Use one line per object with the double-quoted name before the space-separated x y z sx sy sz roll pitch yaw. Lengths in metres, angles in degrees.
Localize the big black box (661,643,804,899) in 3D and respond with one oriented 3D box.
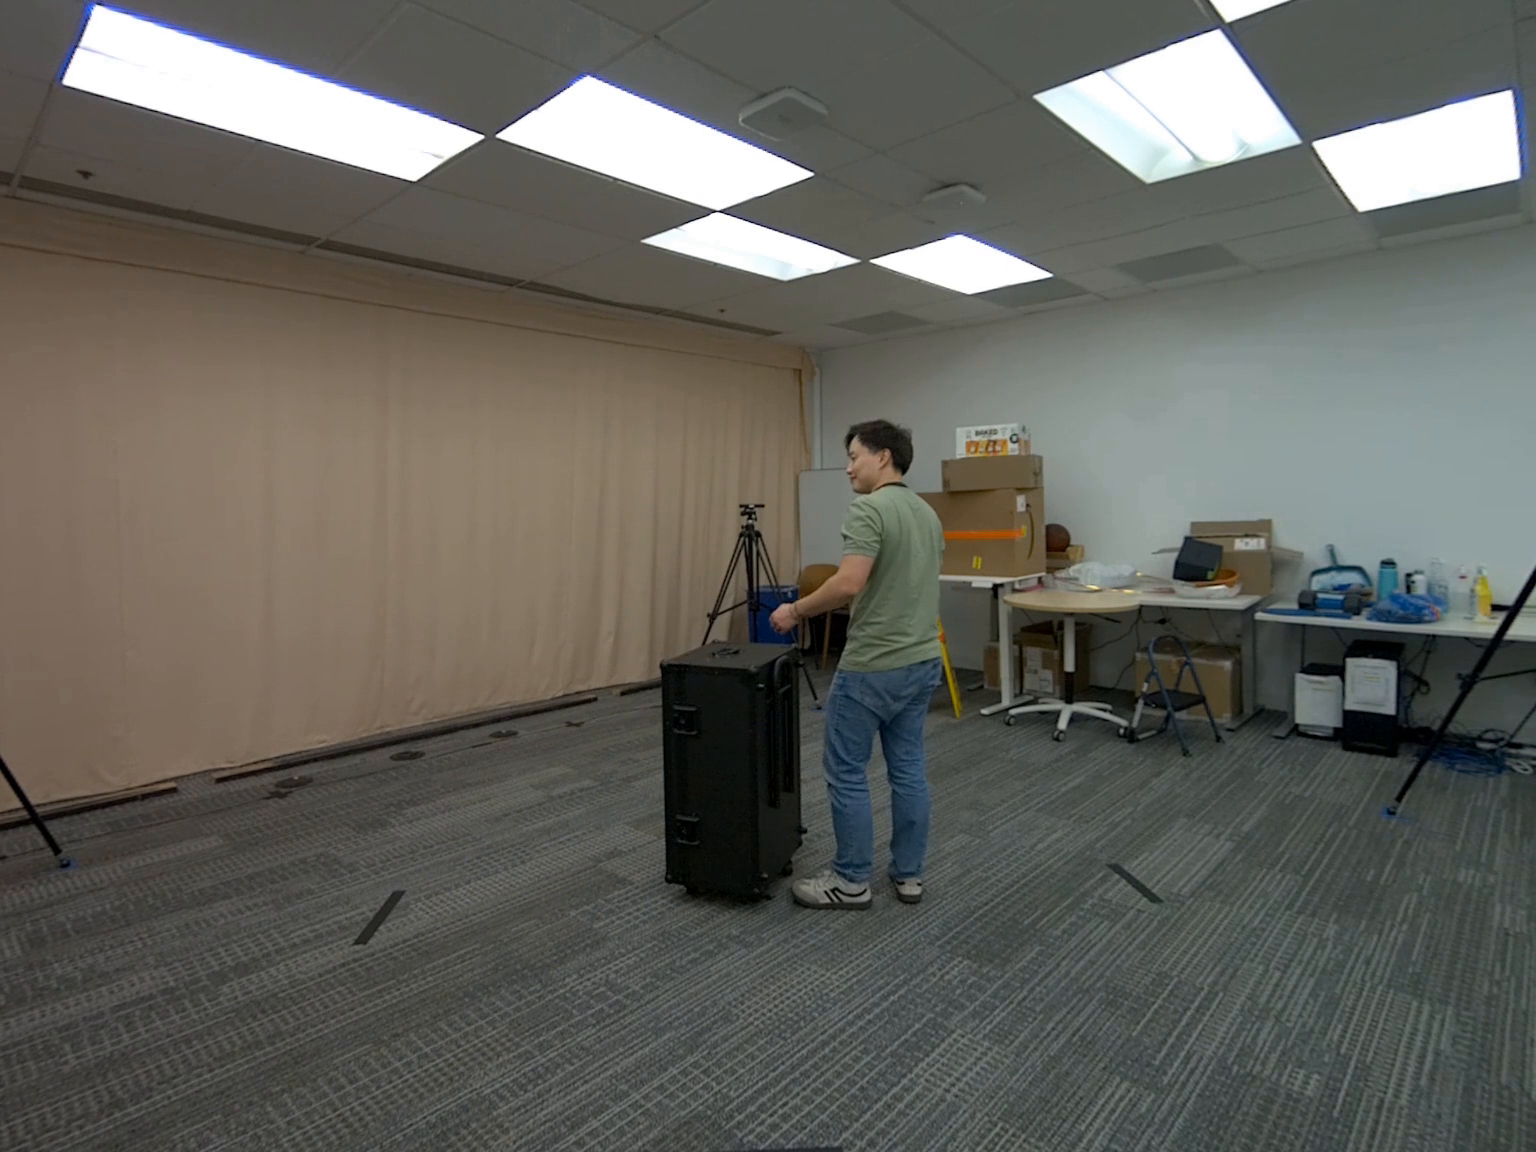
"big black box" -0.108 0.706 3.095 0.405 0.859 0.510 1 4 21
